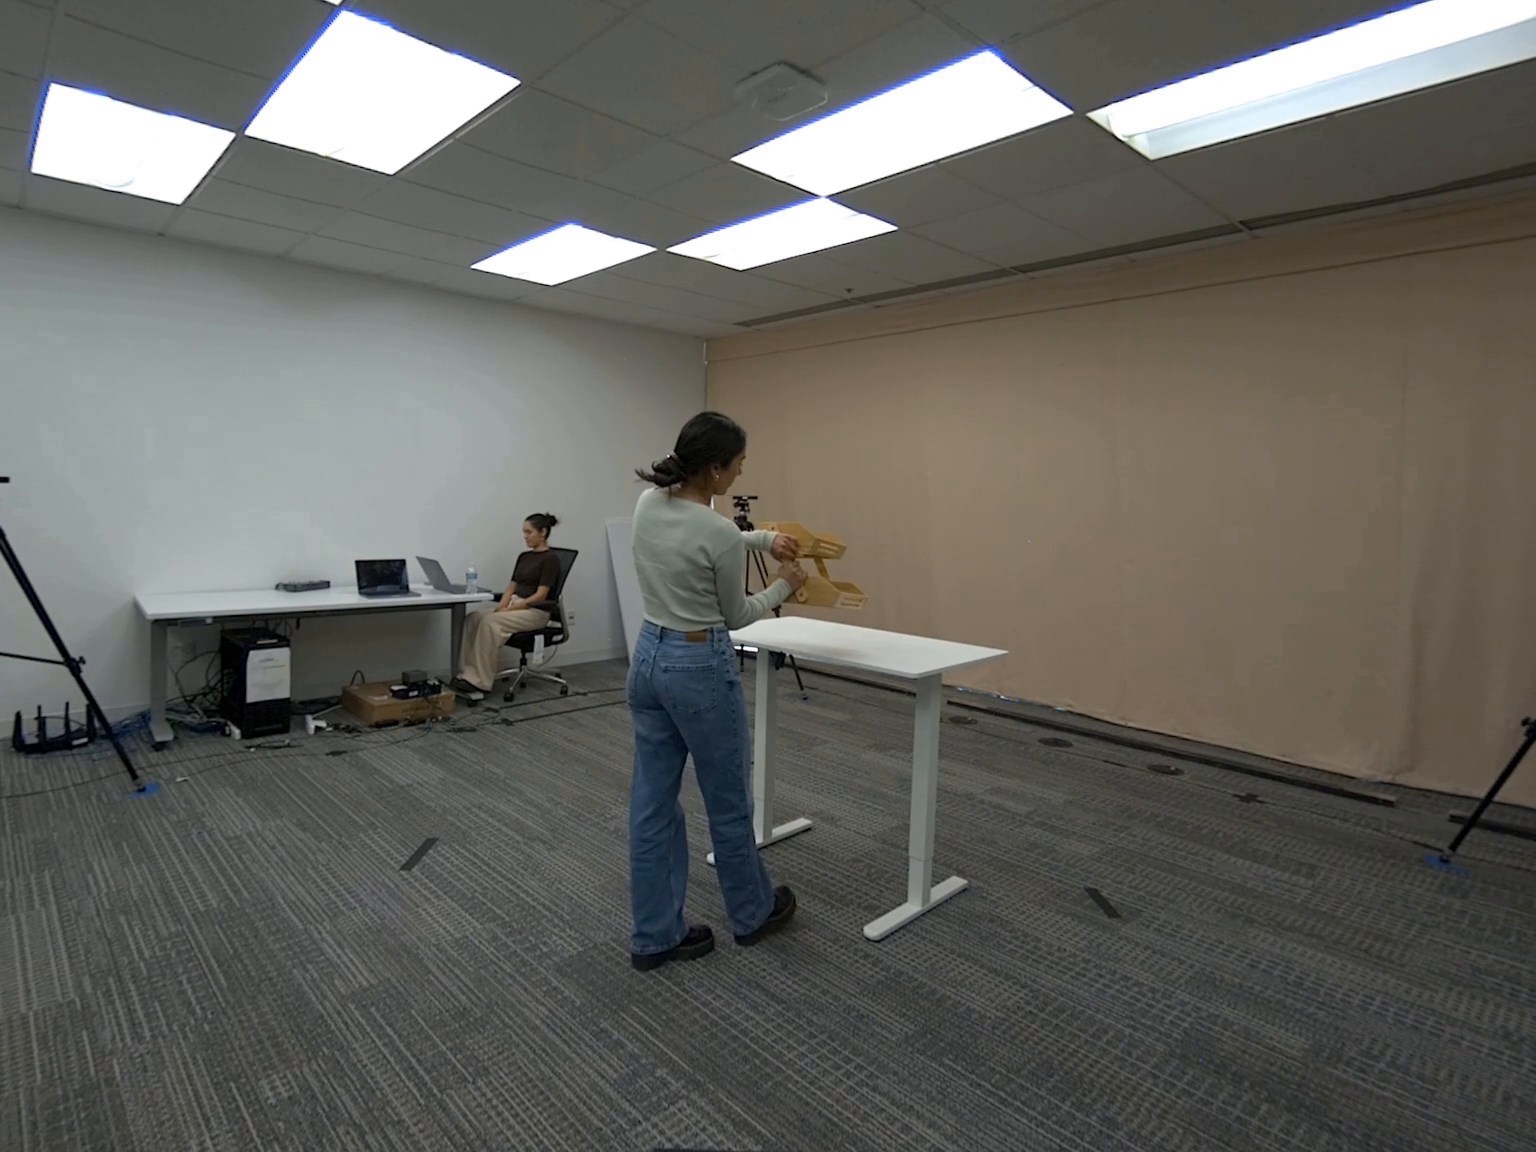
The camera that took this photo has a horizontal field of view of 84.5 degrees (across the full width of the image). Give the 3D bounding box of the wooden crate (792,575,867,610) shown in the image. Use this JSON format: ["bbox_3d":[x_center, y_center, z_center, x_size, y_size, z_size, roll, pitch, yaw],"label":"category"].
[{"bbox_3d":[0.160,-0.028,2.818,0.308,0.274,0.317,5,-3,26],"label":"wooden crate"}]
